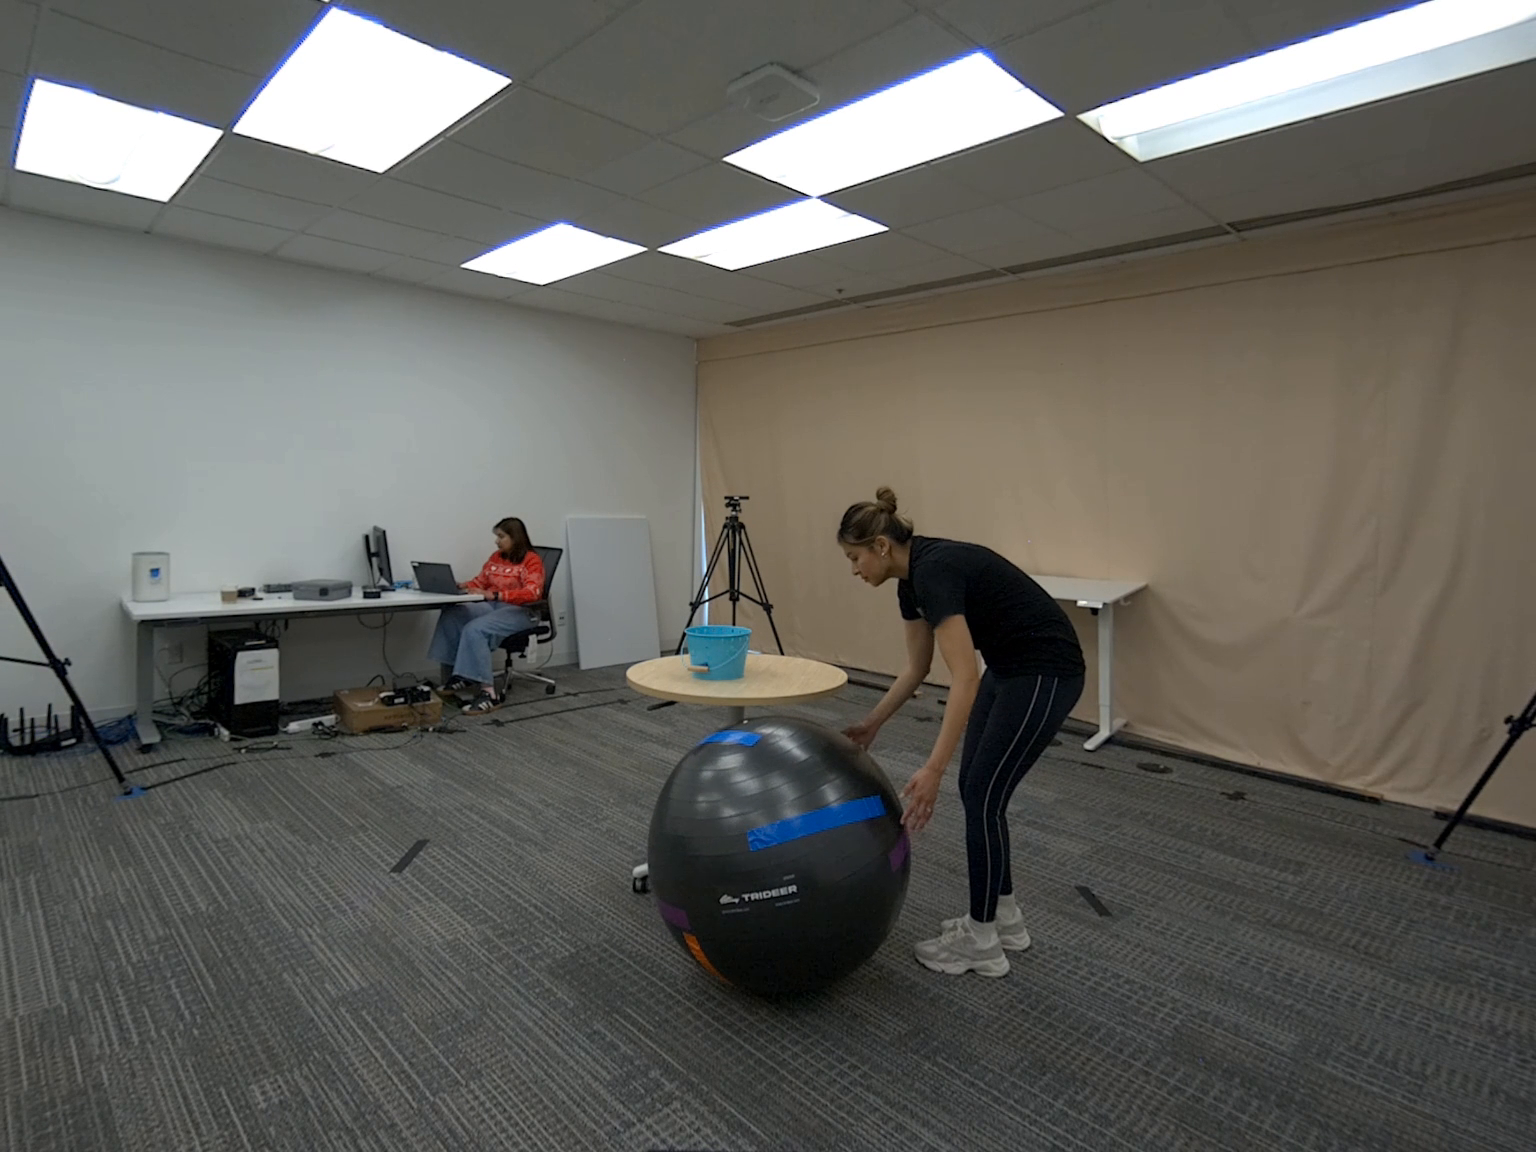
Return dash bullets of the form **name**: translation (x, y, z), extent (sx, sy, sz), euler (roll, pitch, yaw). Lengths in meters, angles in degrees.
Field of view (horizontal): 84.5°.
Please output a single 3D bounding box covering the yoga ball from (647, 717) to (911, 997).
- **yoga ball**: translation (0.025, 0.805, 2.426), extent (0.757, 0.756, 0.761), euler (1, 4, -1)
